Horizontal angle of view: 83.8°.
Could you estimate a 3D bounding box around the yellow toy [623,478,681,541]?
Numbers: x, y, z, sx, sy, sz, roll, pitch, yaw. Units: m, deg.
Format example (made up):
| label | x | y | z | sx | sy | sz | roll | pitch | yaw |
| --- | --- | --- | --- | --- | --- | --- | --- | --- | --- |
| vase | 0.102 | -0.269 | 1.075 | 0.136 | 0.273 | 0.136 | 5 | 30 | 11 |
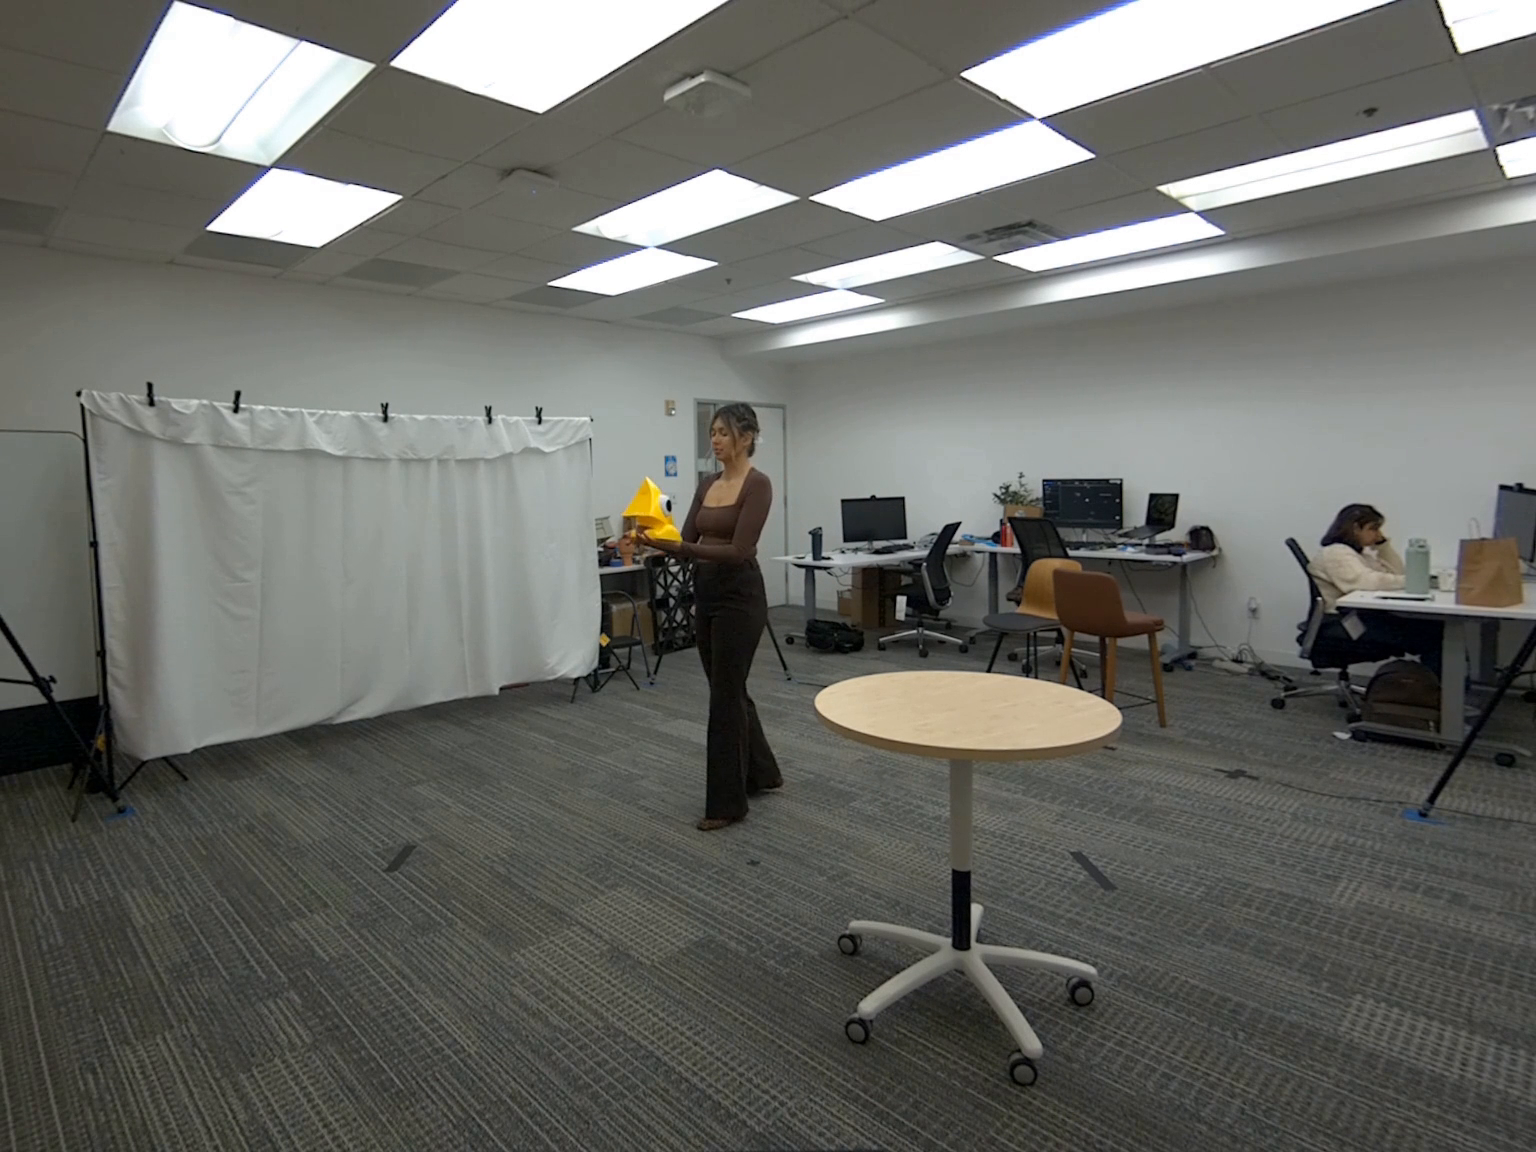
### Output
| label | x | y | z | sx | sy | sz | roll | pitch | yaw |
| --- | --- | --- | --- | --- | --- | --- | --- | --- | --- |
| yellow toy | -0.430 | -0.256 | 3.272 | 0.187 | 0.231 | 0.211 | 6 | -3 | -39 |
